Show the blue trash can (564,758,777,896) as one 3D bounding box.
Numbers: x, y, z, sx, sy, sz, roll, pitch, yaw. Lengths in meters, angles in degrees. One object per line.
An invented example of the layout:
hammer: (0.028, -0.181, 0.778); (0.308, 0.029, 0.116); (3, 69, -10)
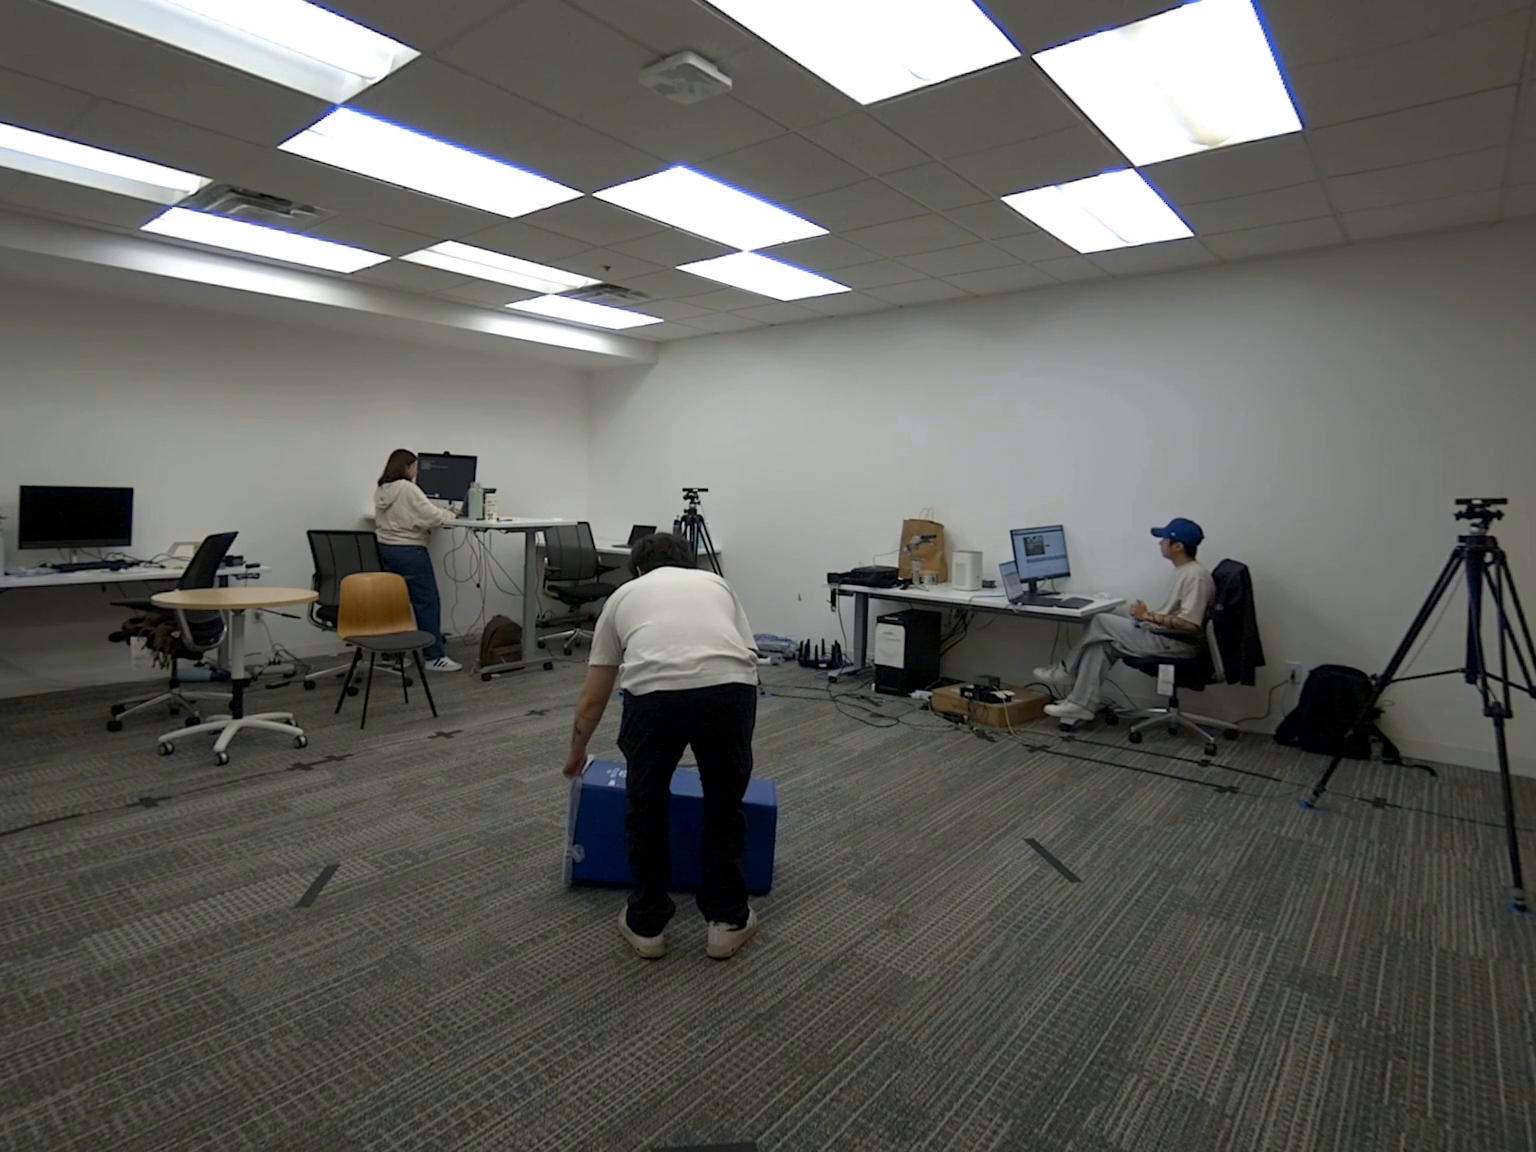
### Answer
blue trash can: (-0.349, 0.893, 3.070); (0.715, 0.378, 0.374); (5, 2, 1)
